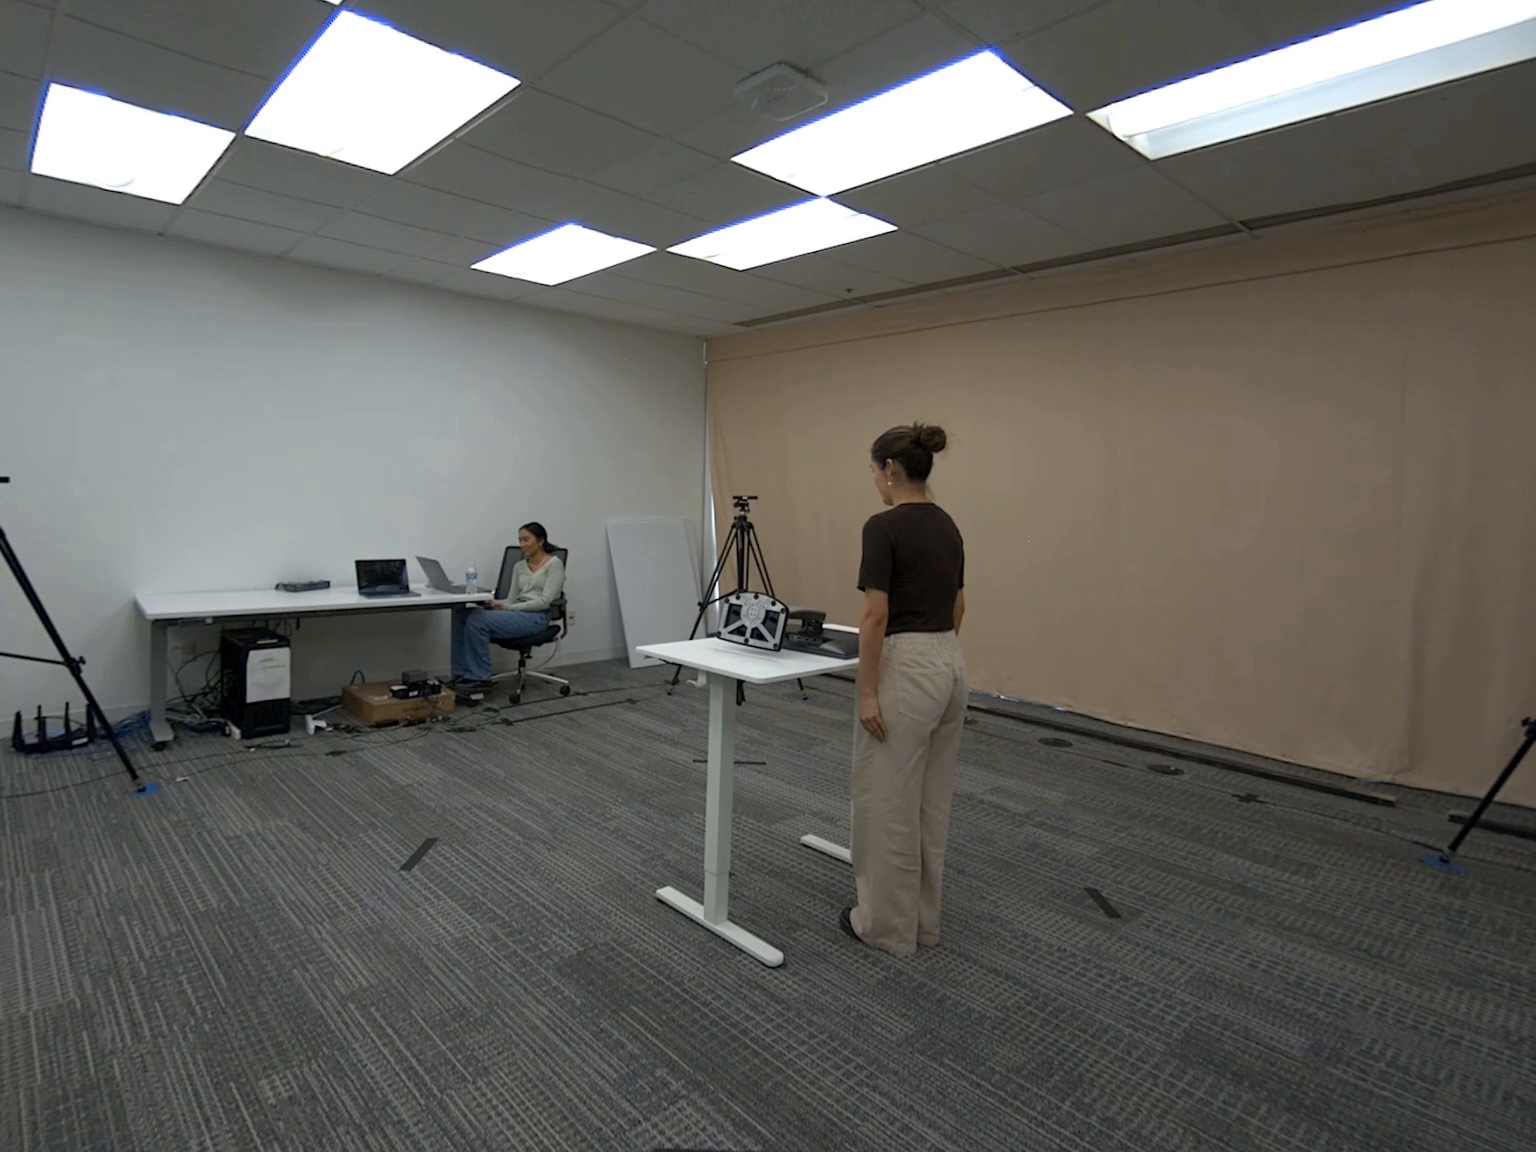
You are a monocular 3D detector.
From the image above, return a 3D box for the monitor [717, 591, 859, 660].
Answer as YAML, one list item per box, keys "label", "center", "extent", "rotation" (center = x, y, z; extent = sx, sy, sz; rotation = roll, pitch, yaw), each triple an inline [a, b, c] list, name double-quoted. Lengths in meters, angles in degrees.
- label: "monitor"
  center: [0.091, 0.190, 2.931]
  extent: [0.553, 0.187, 0.507]
  rotation: [9, -5, 42]
